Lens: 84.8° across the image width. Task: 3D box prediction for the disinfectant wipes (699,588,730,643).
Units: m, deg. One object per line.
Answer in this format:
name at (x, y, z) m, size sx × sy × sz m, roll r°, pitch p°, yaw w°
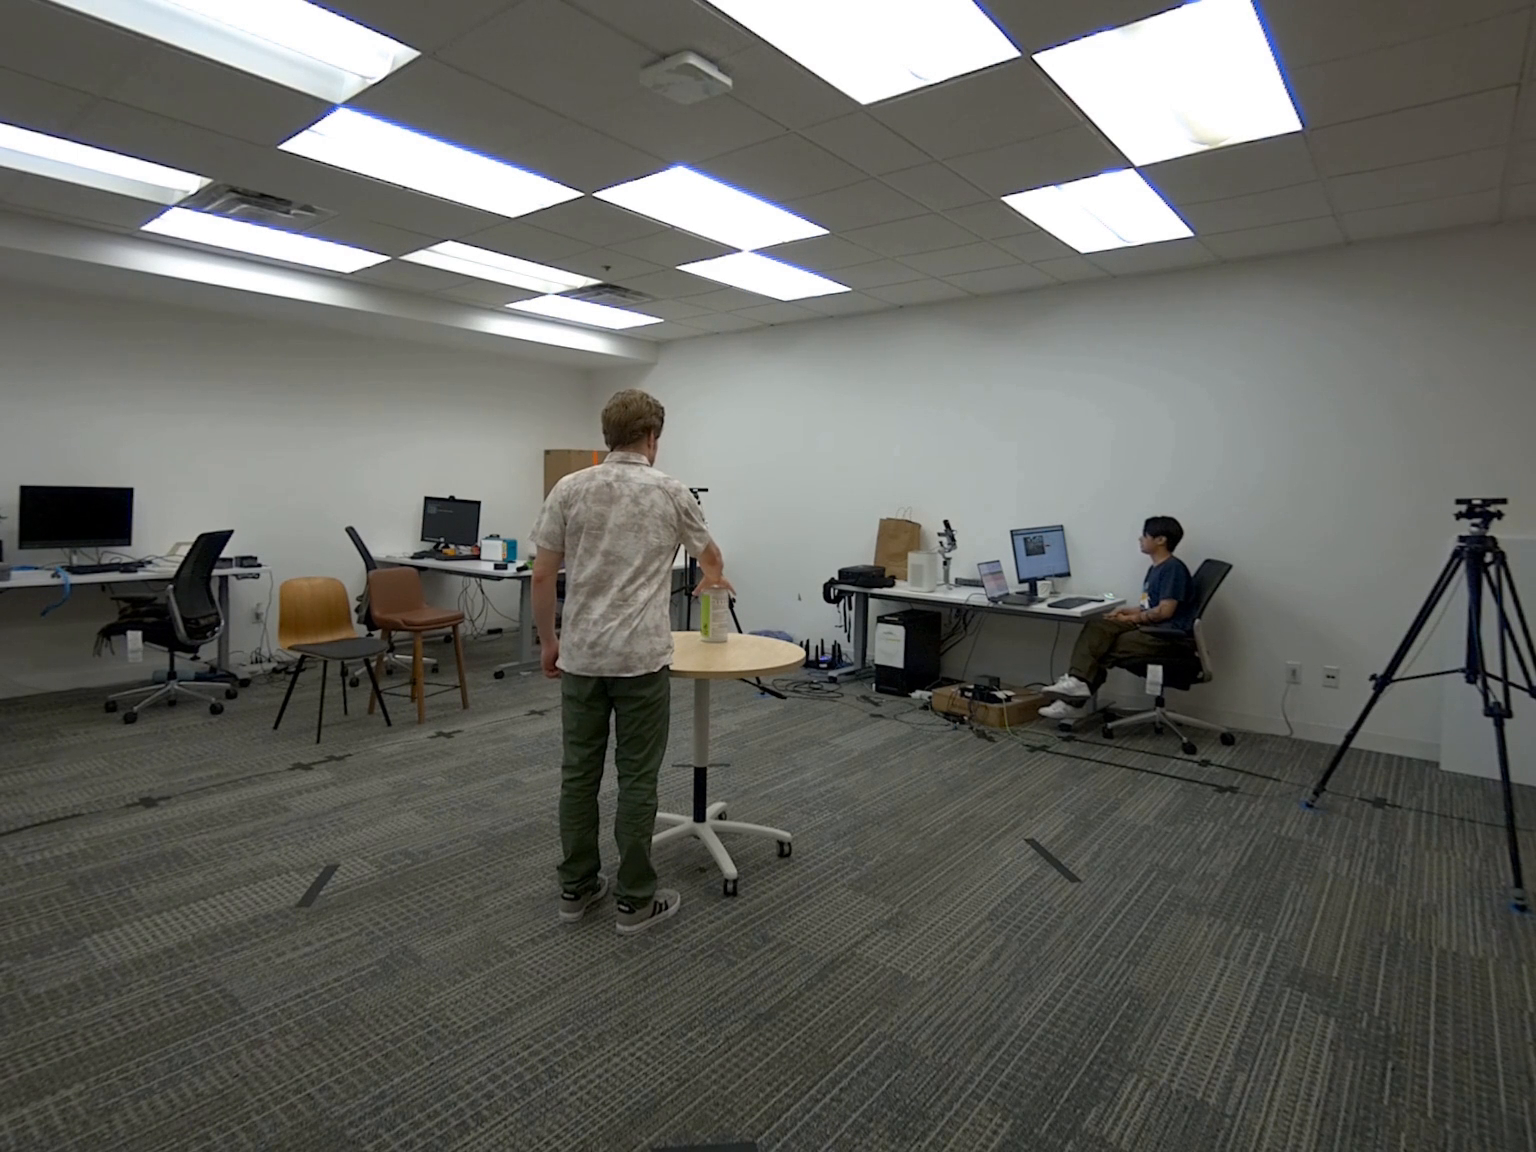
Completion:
disinfectant wipes at (-0.214, 0.145, 3.352) m, size 0.117 × 0.216 × 0.118 m, roll 2°, pitch 5°, yaw -2°
